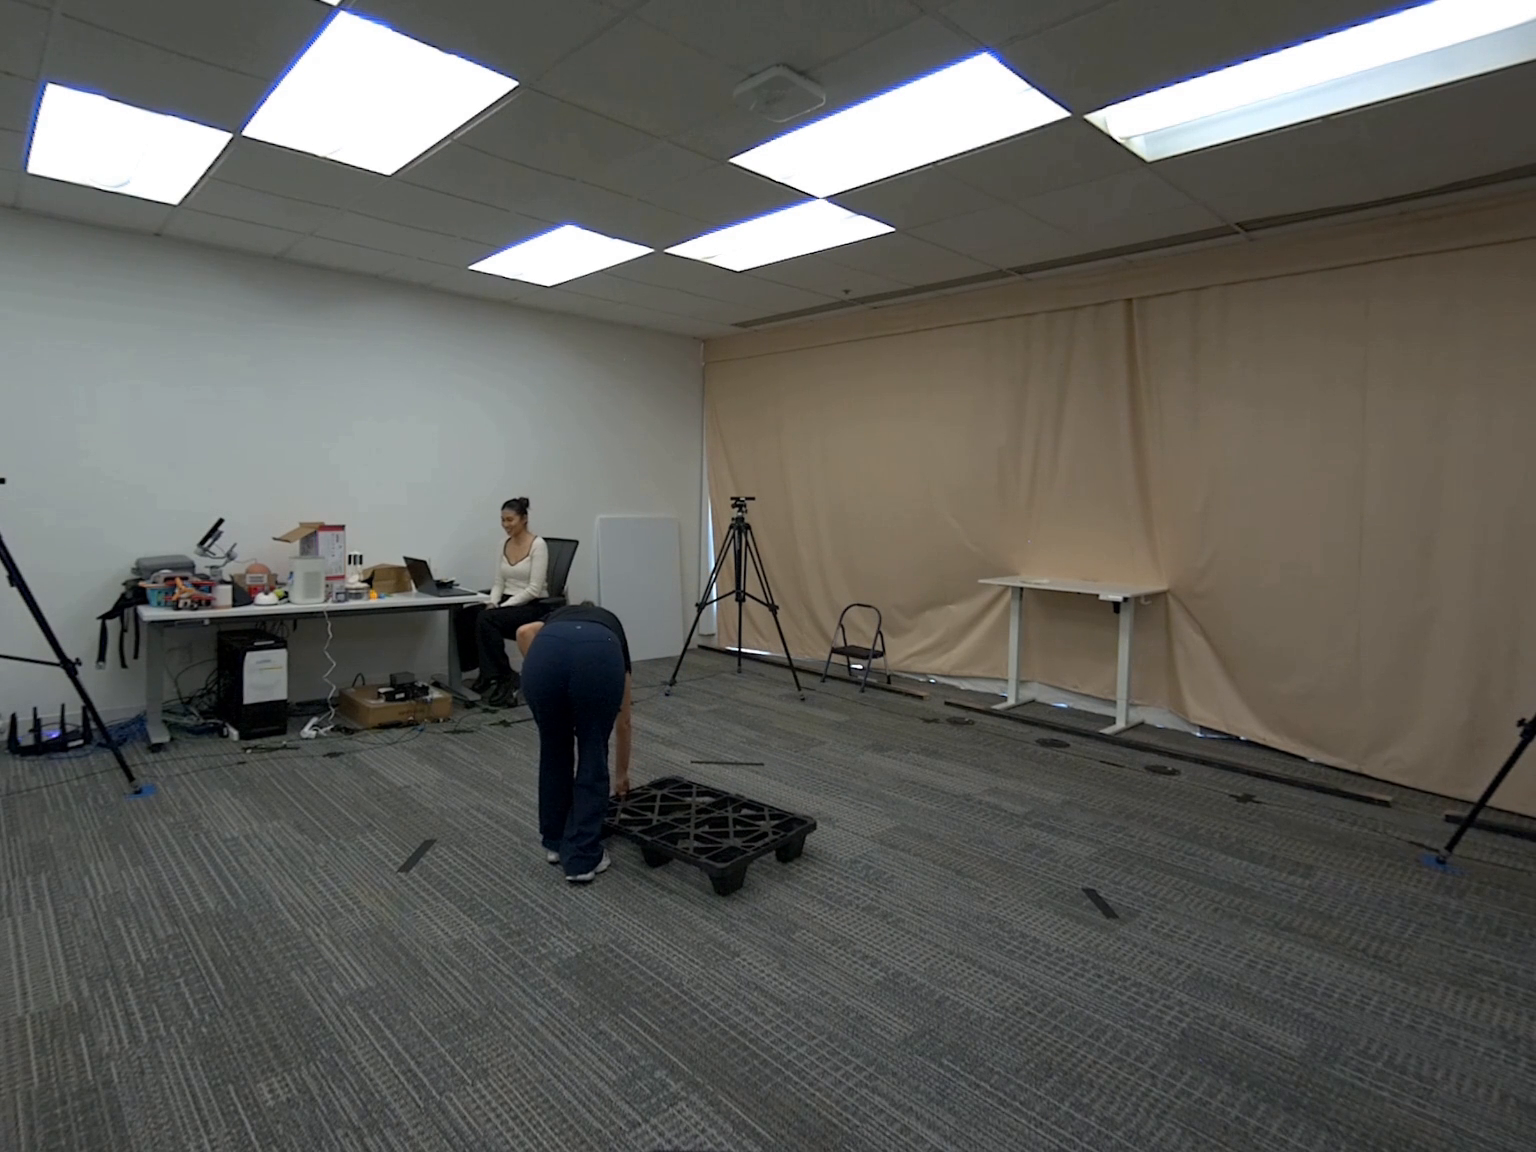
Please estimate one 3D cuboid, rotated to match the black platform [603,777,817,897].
[{"bbox_3d":[-0.301,1.016,3.329,0.826,0.143,0.592,5,7,38],"label":"black platform"}]
